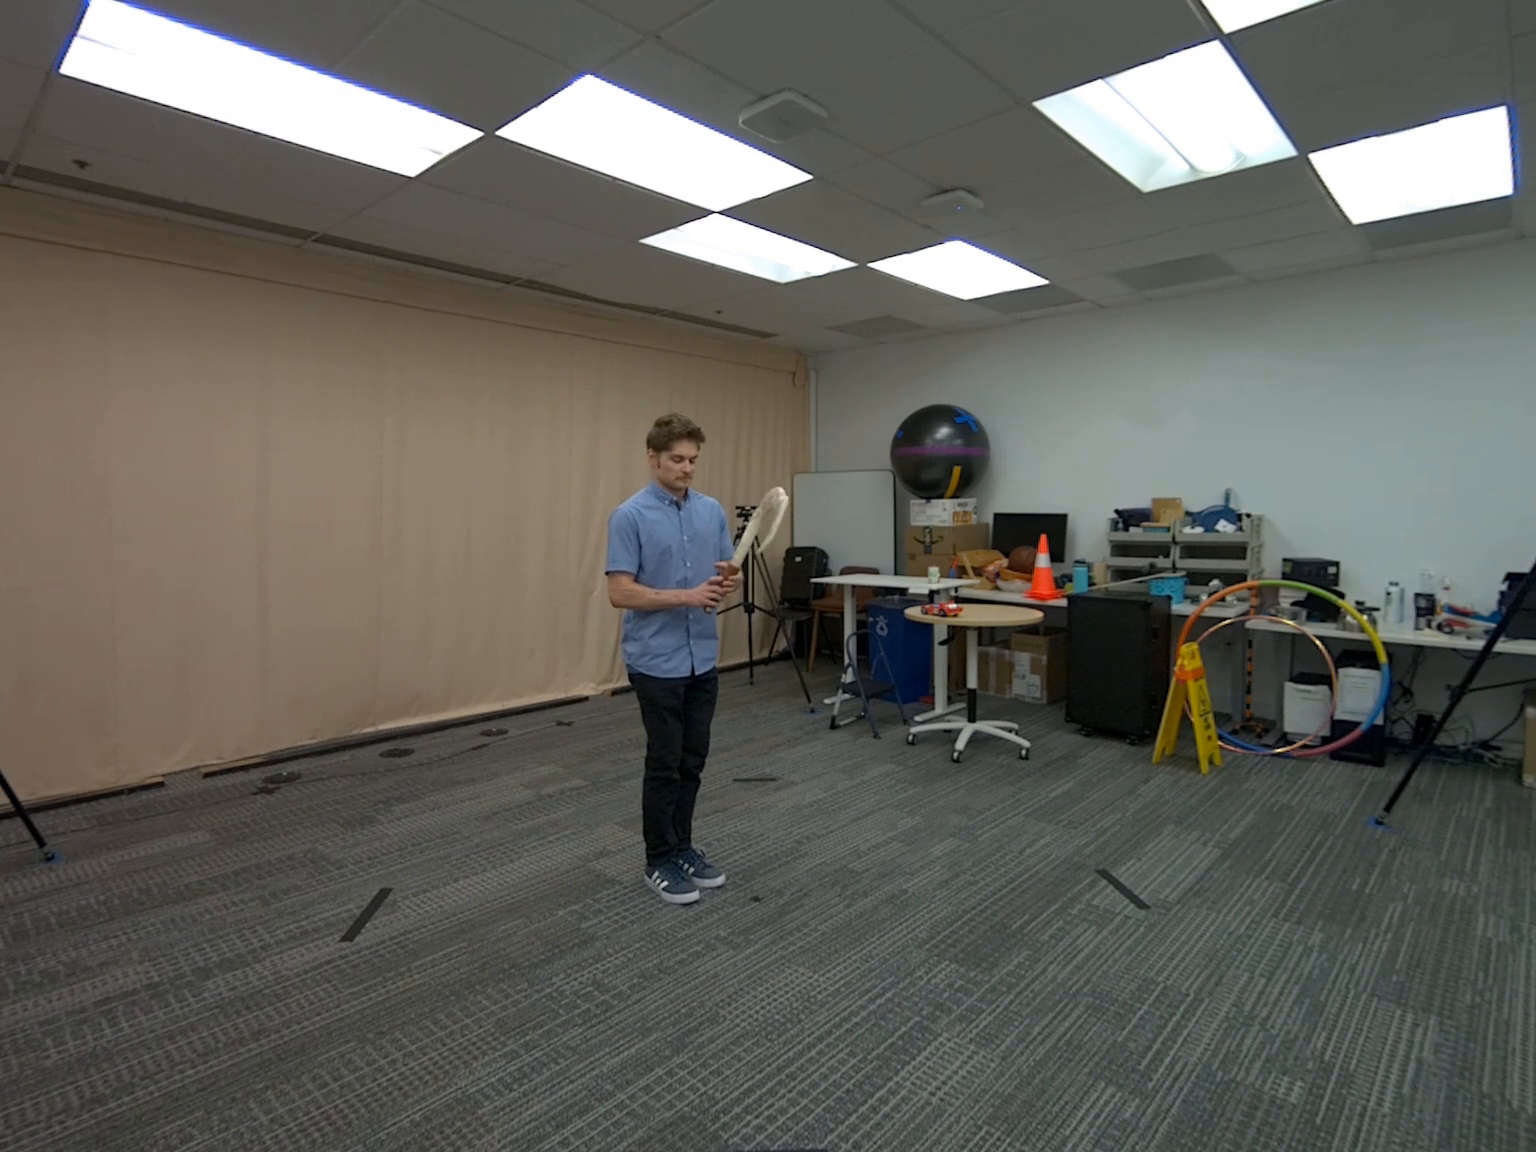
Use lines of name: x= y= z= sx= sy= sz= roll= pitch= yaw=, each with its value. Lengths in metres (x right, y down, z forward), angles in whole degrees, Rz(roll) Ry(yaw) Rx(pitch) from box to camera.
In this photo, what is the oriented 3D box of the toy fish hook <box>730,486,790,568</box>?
toy fish hook: x=-0.068 y=-0.057 z=2.746 sx=0.047 sy=0.506 sz=0.229 roll=21 pitch=22 yaw=-19
